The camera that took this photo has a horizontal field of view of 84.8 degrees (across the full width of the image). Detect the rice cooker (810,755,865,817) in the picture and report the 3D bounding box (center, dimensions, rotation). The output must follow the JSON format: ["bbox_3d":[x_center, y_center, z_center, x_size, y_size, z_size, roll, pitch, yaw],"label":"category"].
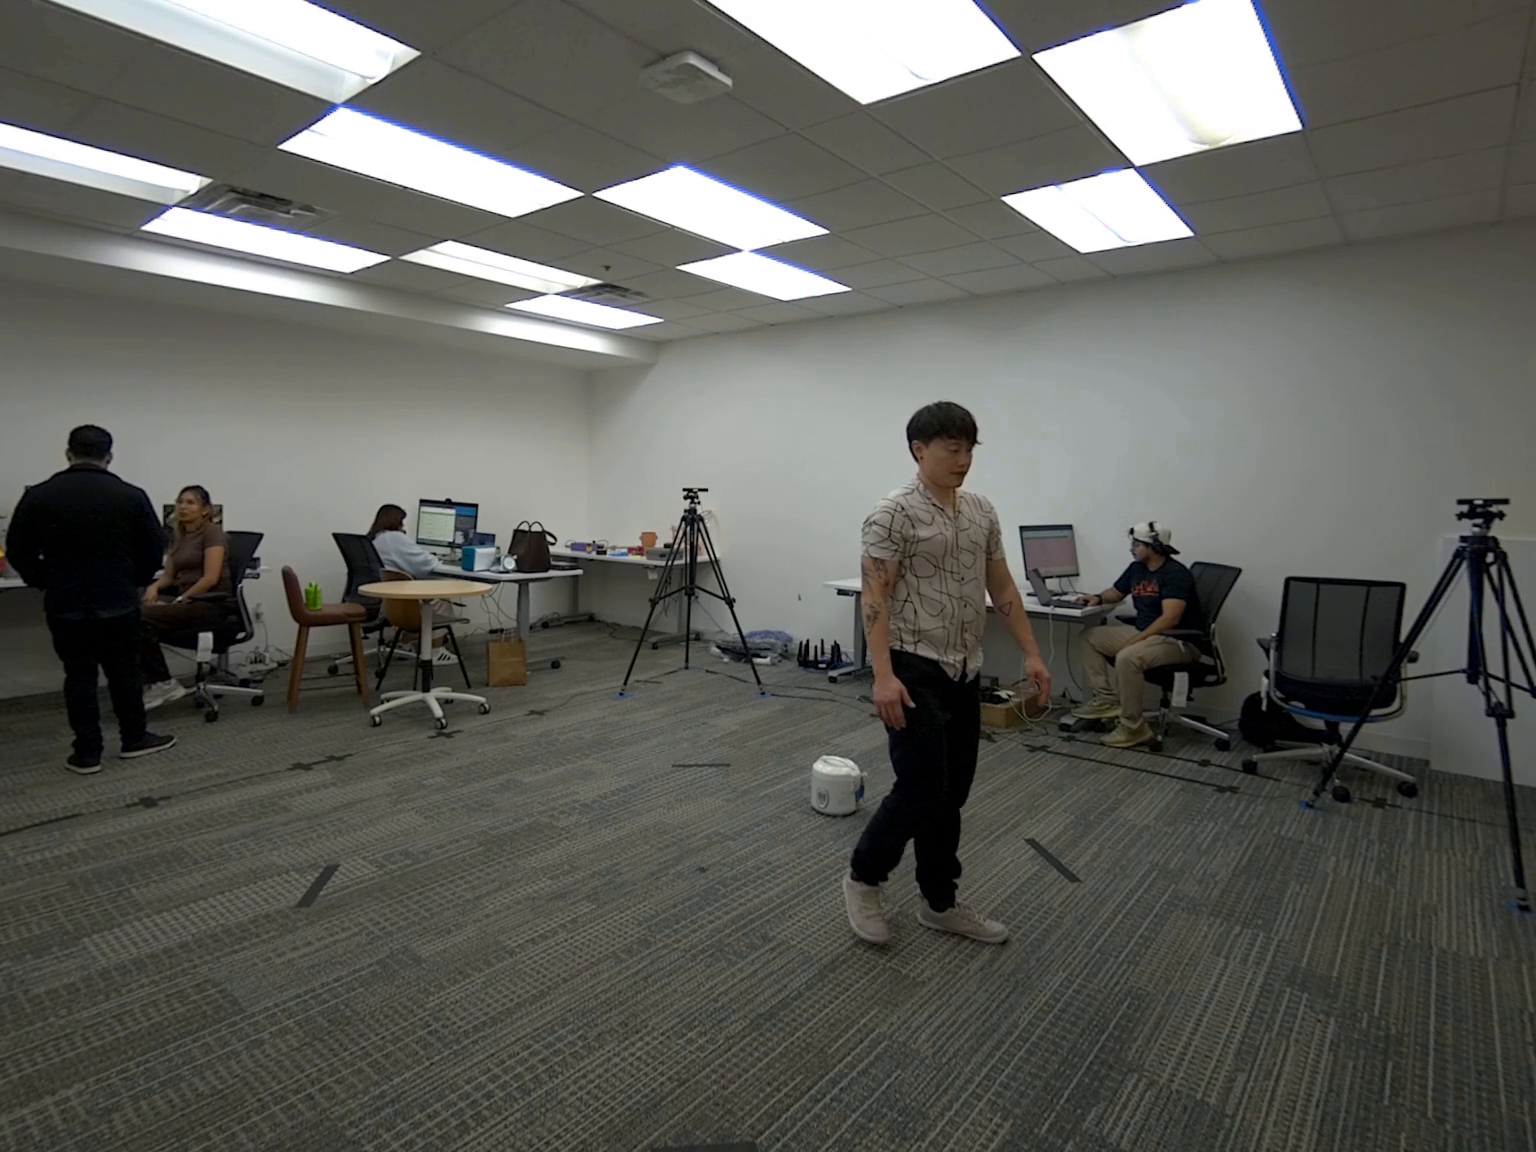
[{"bbox_3d":[0.286,0.901,3.721,0.228,0.232,0.211,4,5,36],"label":"rice cooker"}]
